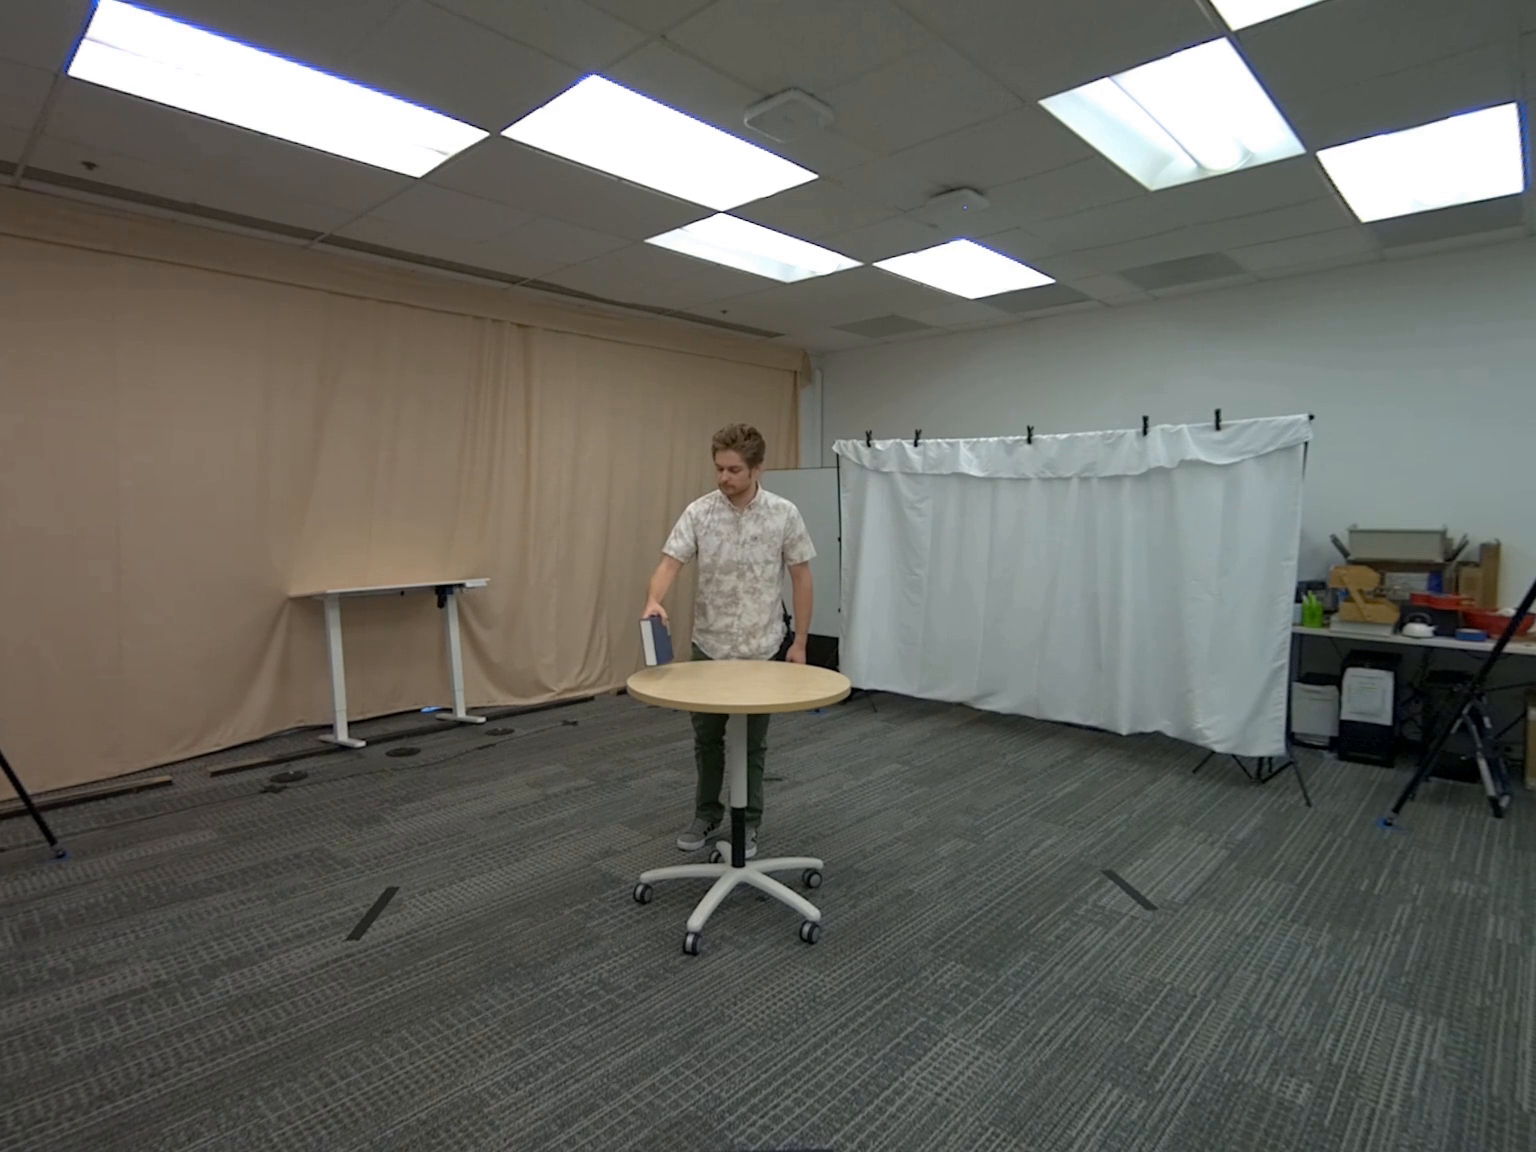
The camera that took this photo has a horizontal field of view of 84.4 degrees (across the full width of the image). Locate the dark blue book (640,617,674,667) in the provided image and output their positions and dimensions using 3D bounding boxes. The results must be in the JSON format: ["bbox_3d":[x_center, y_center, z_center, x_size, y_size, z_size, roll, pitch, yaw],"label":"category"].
[{"bbox_3d":[-0.393,0.224,2.999,0.045,0.163,0.243,-5,-1,5],"label":"dark blue book"}]
